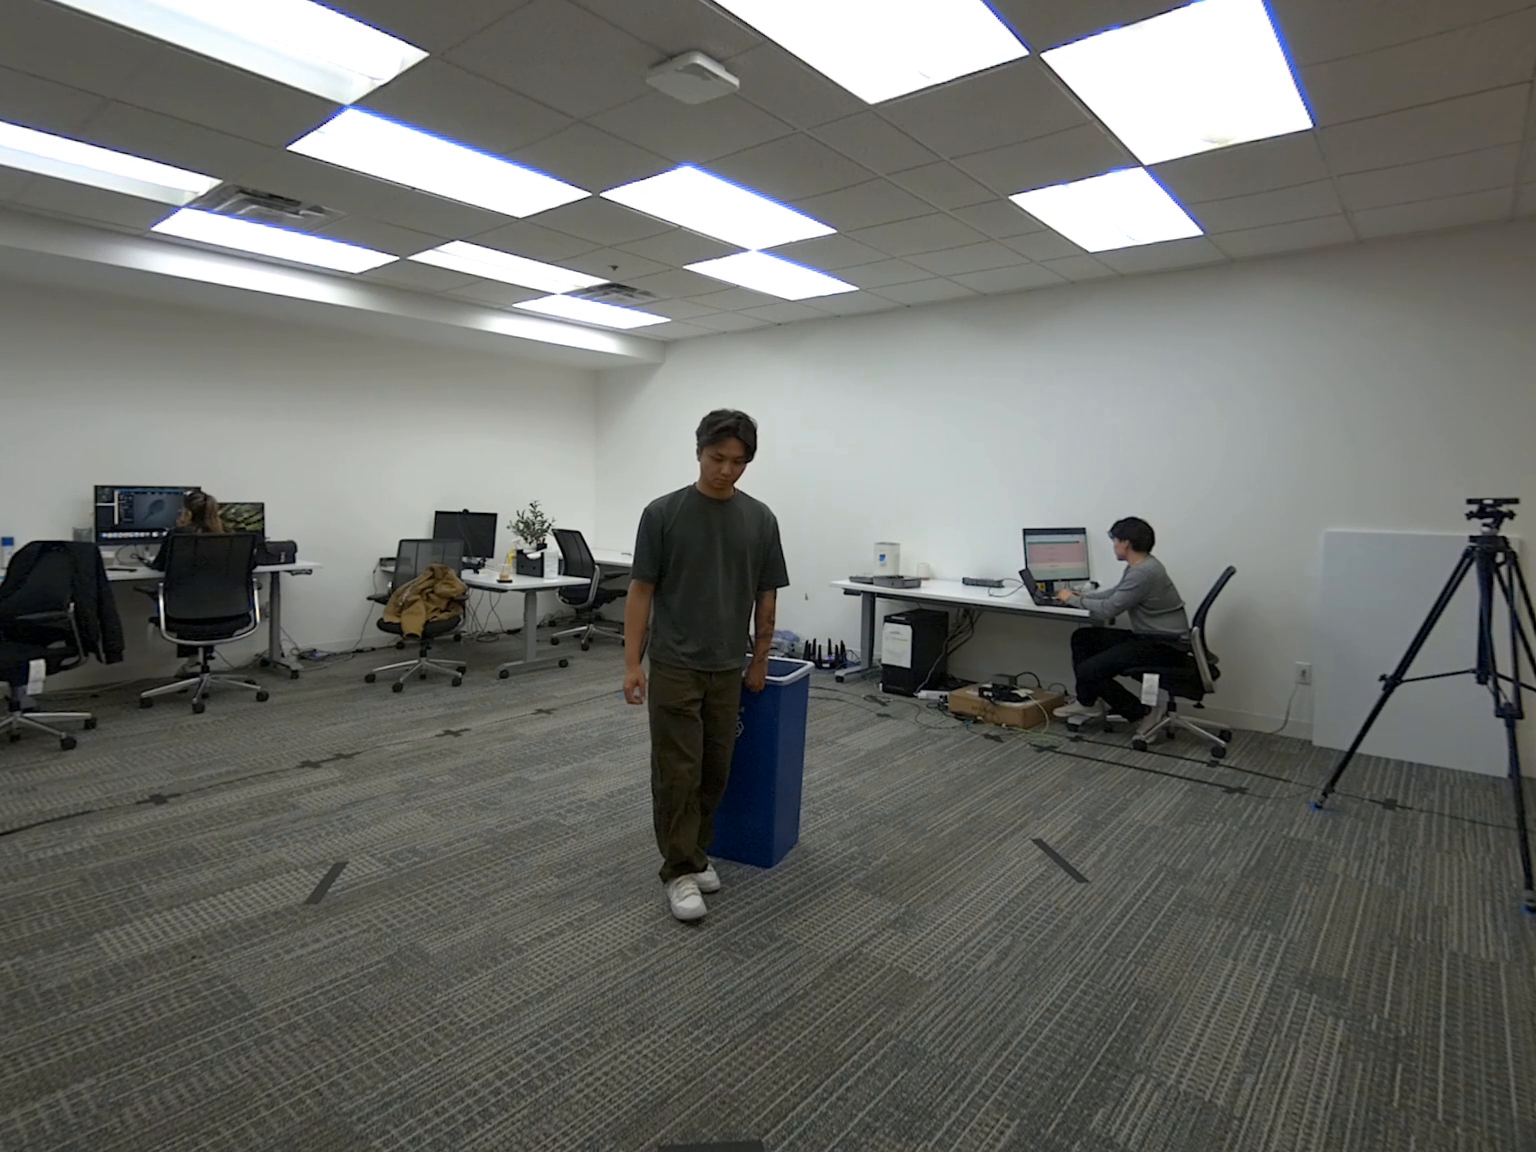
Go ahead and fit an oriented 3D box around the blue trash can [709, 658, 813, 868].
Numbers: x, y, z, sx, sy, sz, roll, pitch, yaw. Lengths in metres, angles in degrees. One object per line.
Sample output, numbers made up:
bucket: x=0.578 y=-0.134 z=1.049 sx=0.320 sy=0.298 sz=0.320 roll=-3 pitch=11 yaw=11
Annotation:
blue trash can: x=-0.060 y=0.694 z=3.292 sx=0.383 sy=0.711 sz=0.370 roll=2 pitch=3 yaw=23
